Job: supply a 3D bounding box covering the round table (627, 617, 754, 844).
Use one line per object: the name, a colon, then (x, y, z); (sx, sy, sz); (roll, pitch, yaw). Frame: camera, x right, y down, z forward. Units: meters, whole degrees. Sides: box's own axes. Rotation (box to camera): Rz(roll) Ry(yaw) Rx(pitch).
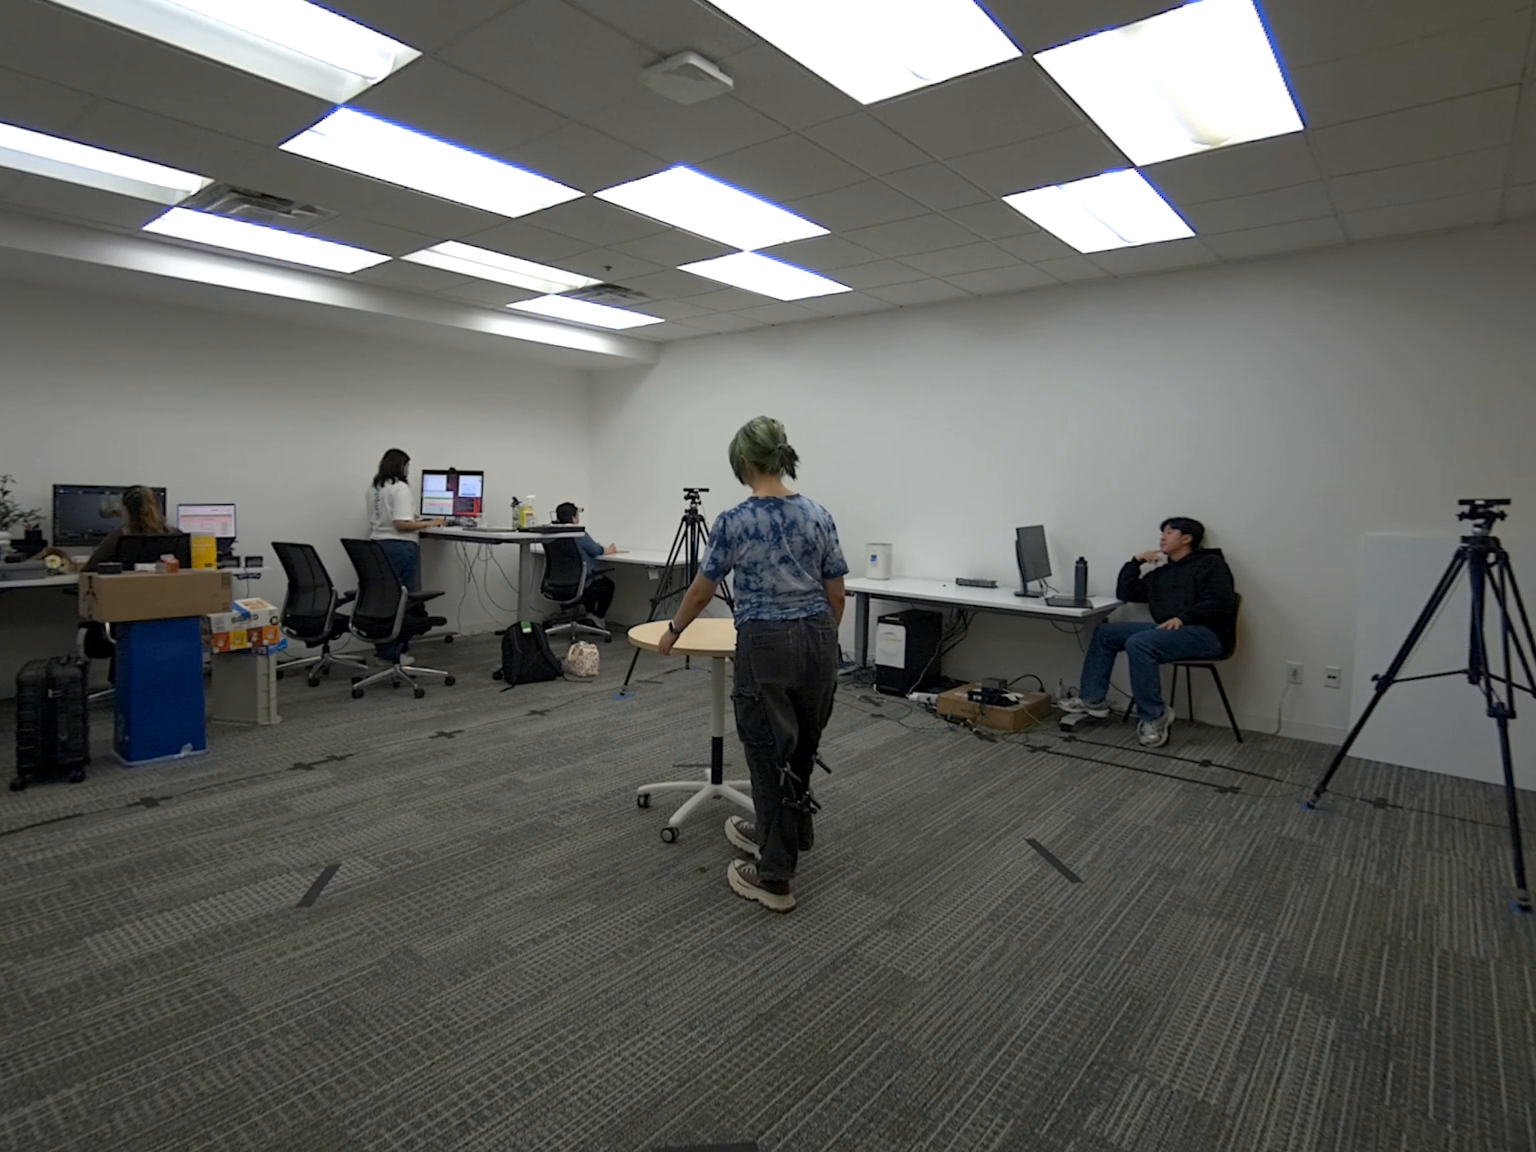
round table: (-0.232, 0.631, 3.609); (0.763, 0.791, 0.768); (1, 4, -2)
